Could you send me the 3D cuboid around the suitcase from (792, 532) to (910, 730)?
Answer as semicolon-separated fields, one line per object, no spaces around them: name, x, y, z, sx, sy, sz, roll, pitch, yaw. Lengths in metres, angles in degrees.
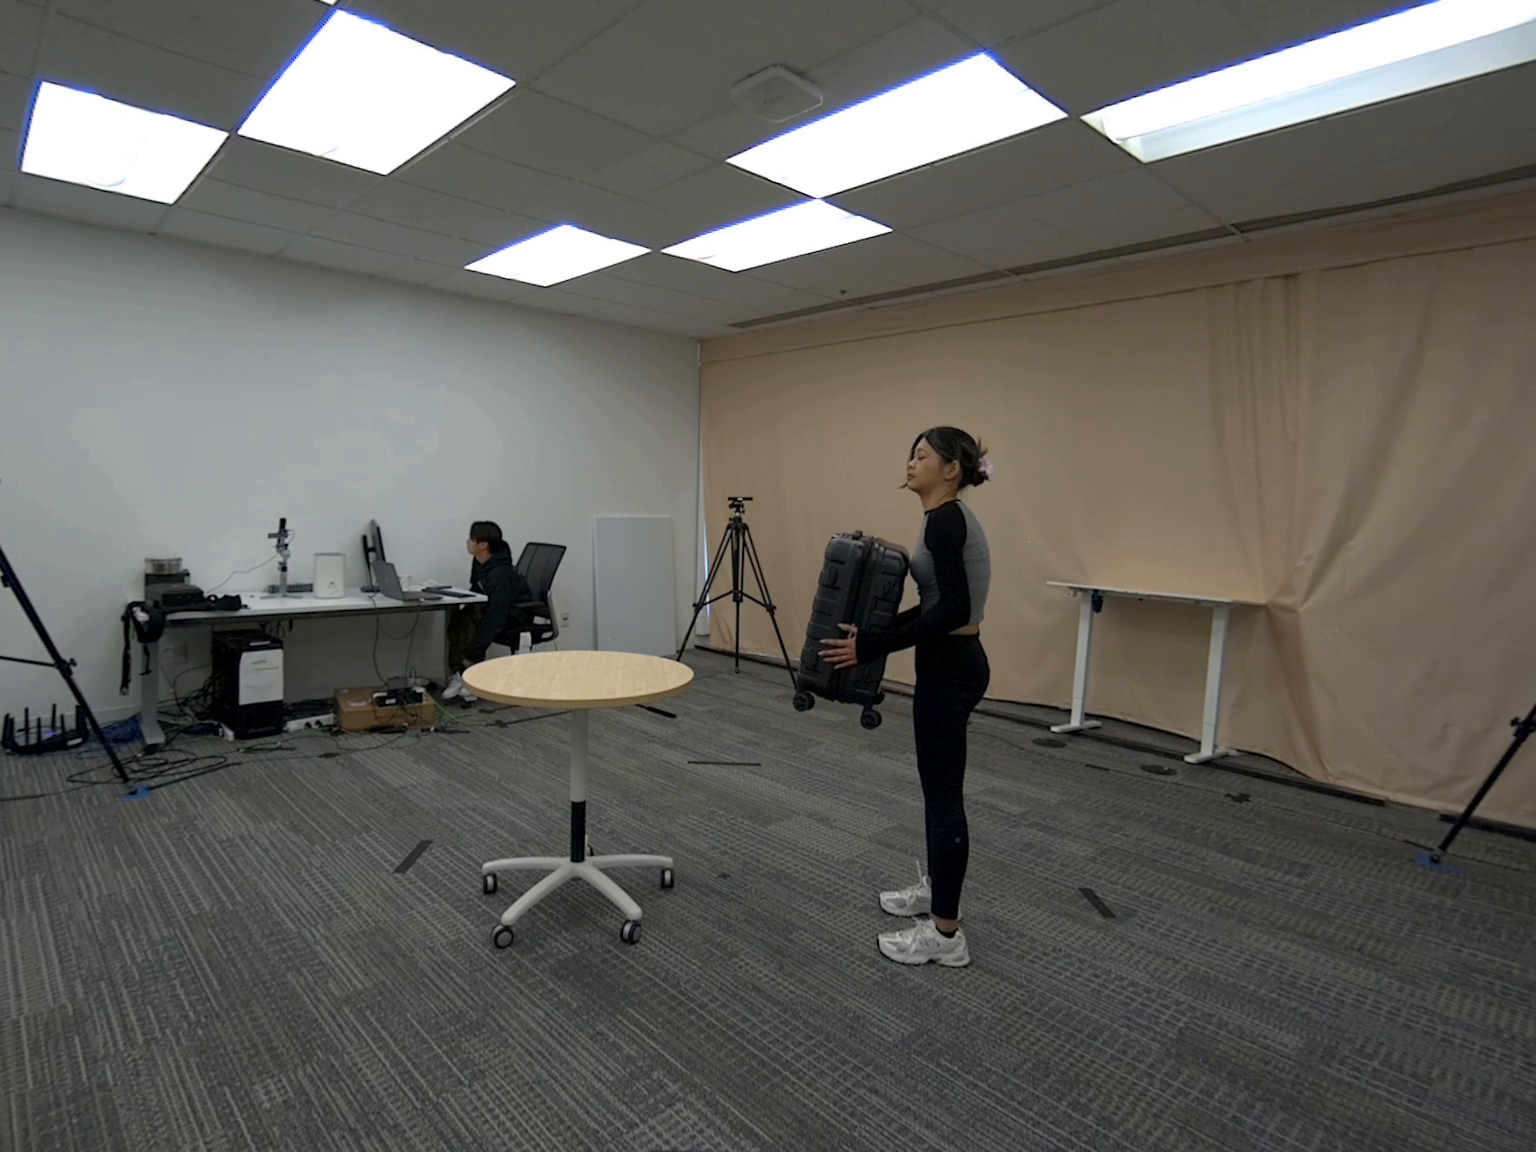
suitcase;0.267;0.140;2.644;0.251;0.547;0.372;11;5;11
